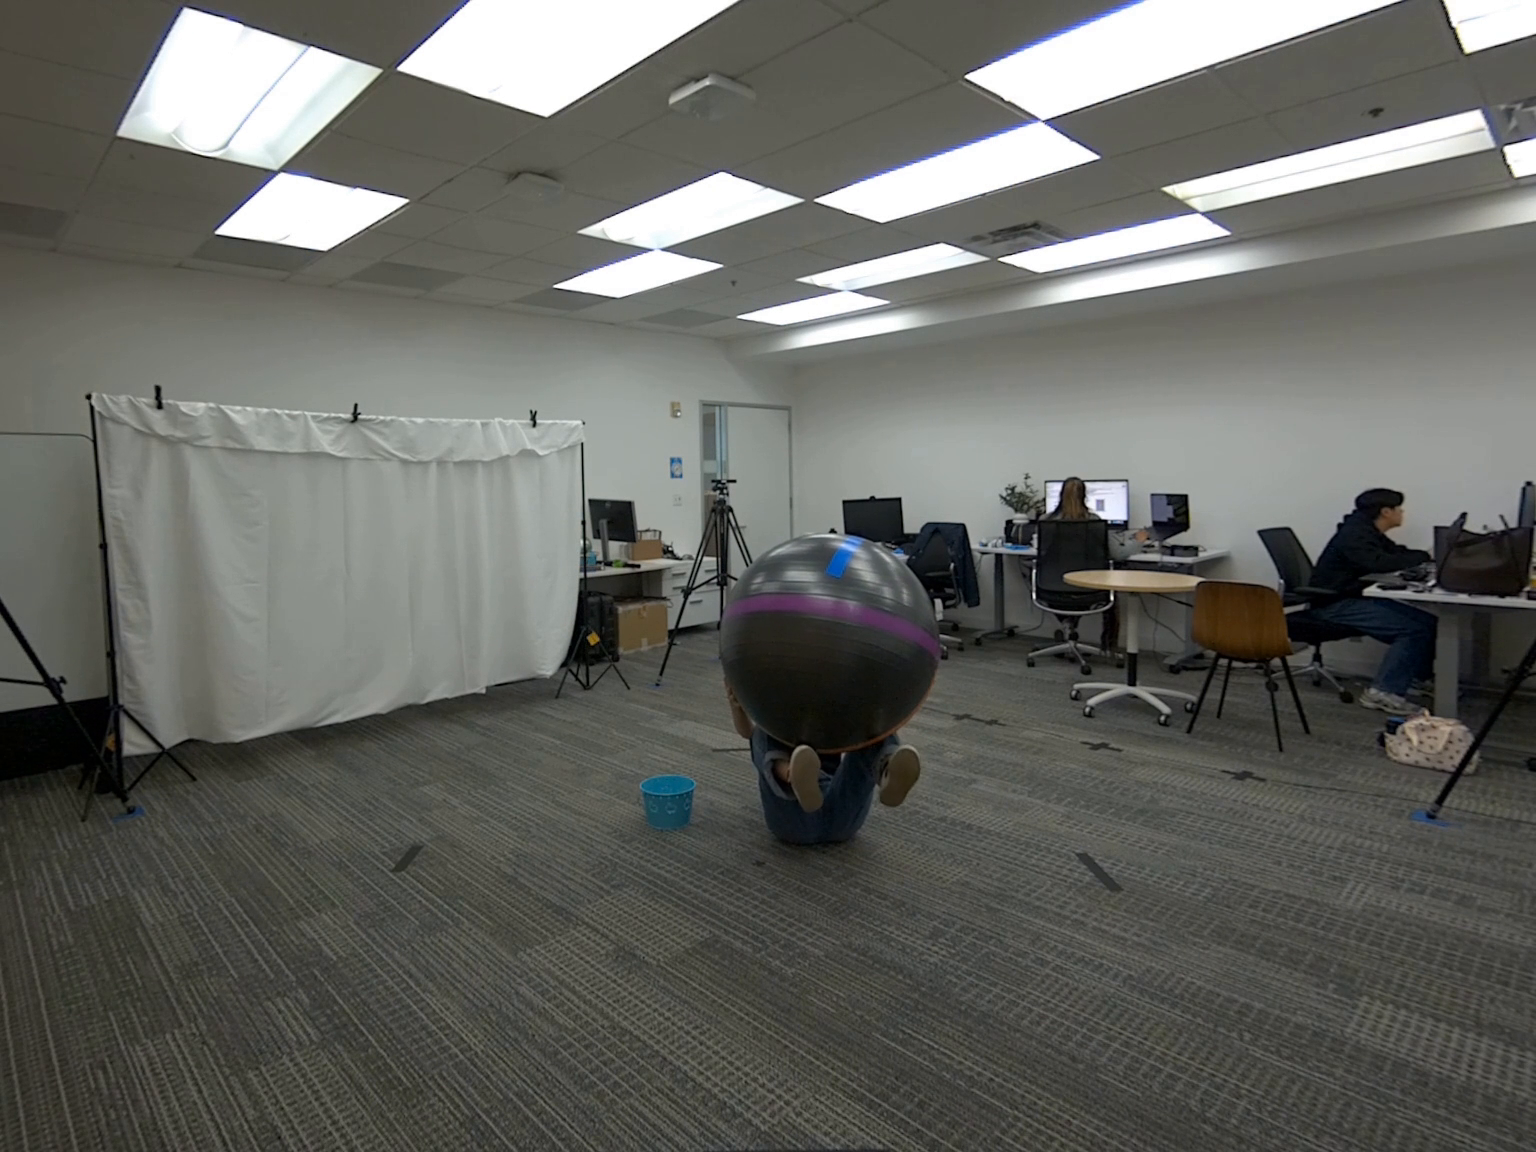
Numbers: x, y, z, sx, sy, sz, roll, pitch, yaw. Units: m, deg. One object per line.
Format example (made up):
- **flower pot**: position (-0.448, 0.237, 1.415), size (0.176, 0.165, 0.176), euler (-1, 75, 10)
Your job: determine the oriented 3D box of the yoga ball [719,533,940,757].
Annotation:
- **yoga ball**: position (0.214, 0.235, 2.995), size (0.757, 0.755, 0.762), euler (-1, 5, -2)
